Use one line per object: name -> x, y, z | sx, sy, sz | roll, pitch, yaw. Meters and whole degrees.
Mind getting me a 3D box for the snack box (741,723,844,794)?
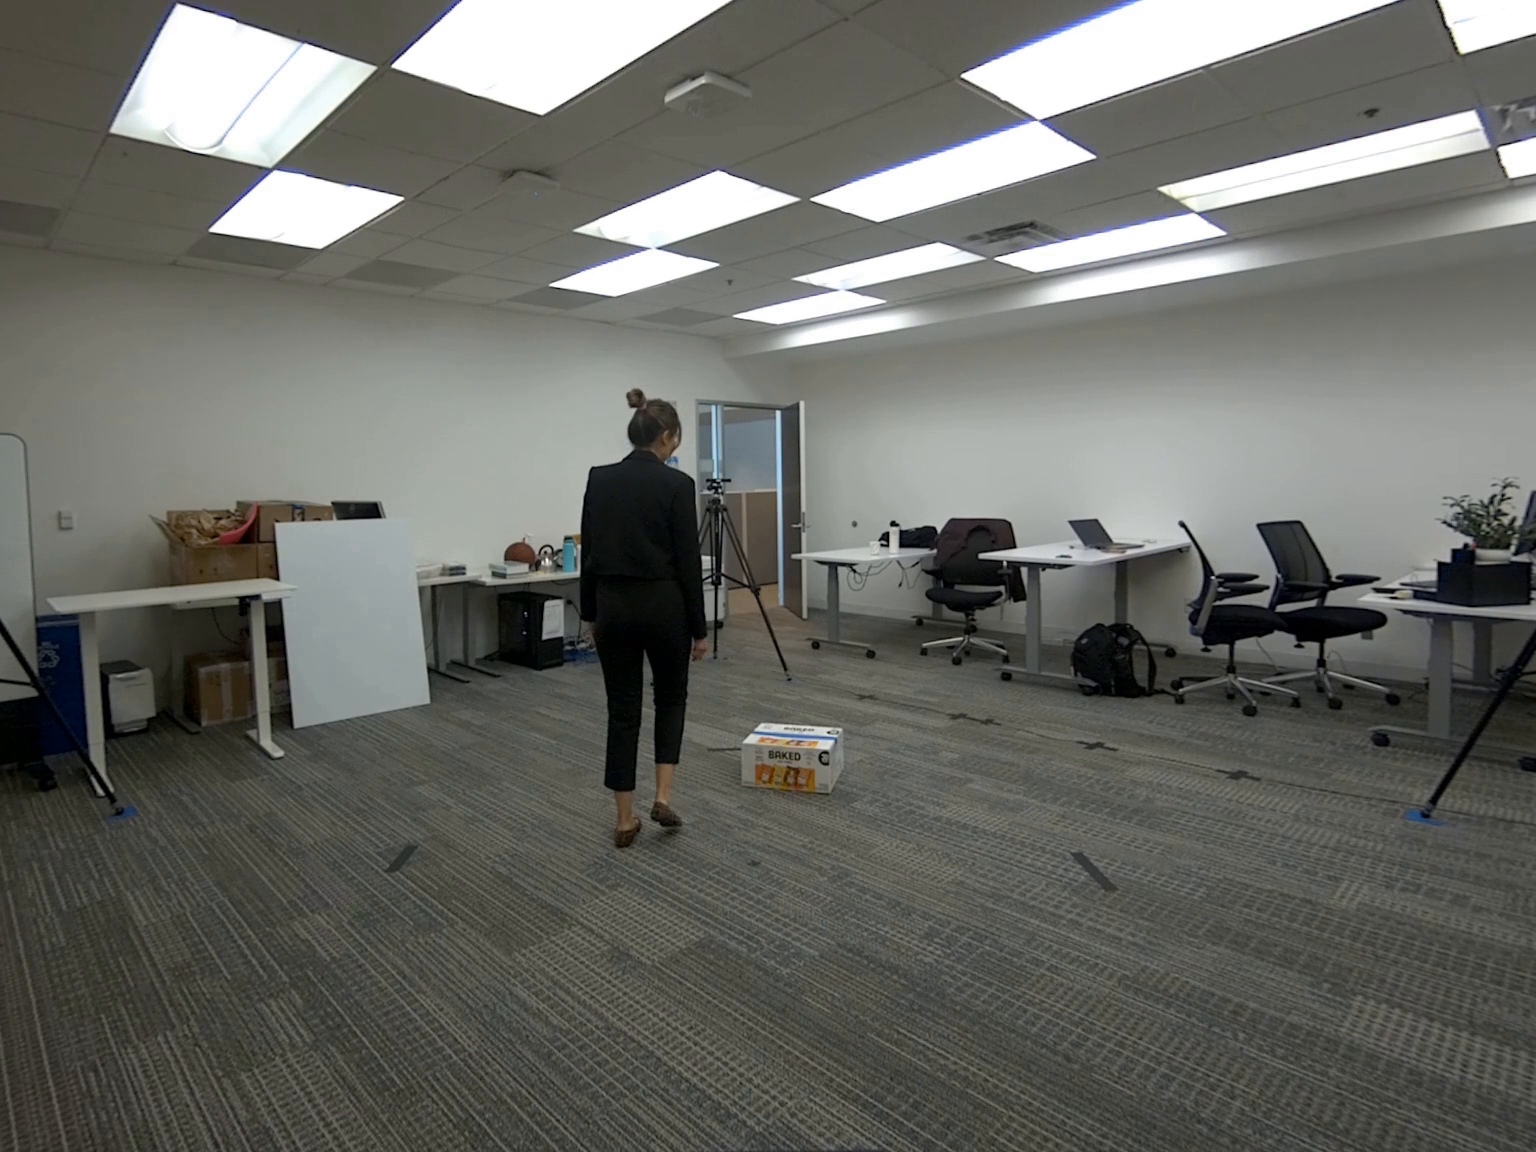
snack box -> 0.121, 0.843, 3.986 | 0.412, 0.205, 0.336 | 0, 6, 17
